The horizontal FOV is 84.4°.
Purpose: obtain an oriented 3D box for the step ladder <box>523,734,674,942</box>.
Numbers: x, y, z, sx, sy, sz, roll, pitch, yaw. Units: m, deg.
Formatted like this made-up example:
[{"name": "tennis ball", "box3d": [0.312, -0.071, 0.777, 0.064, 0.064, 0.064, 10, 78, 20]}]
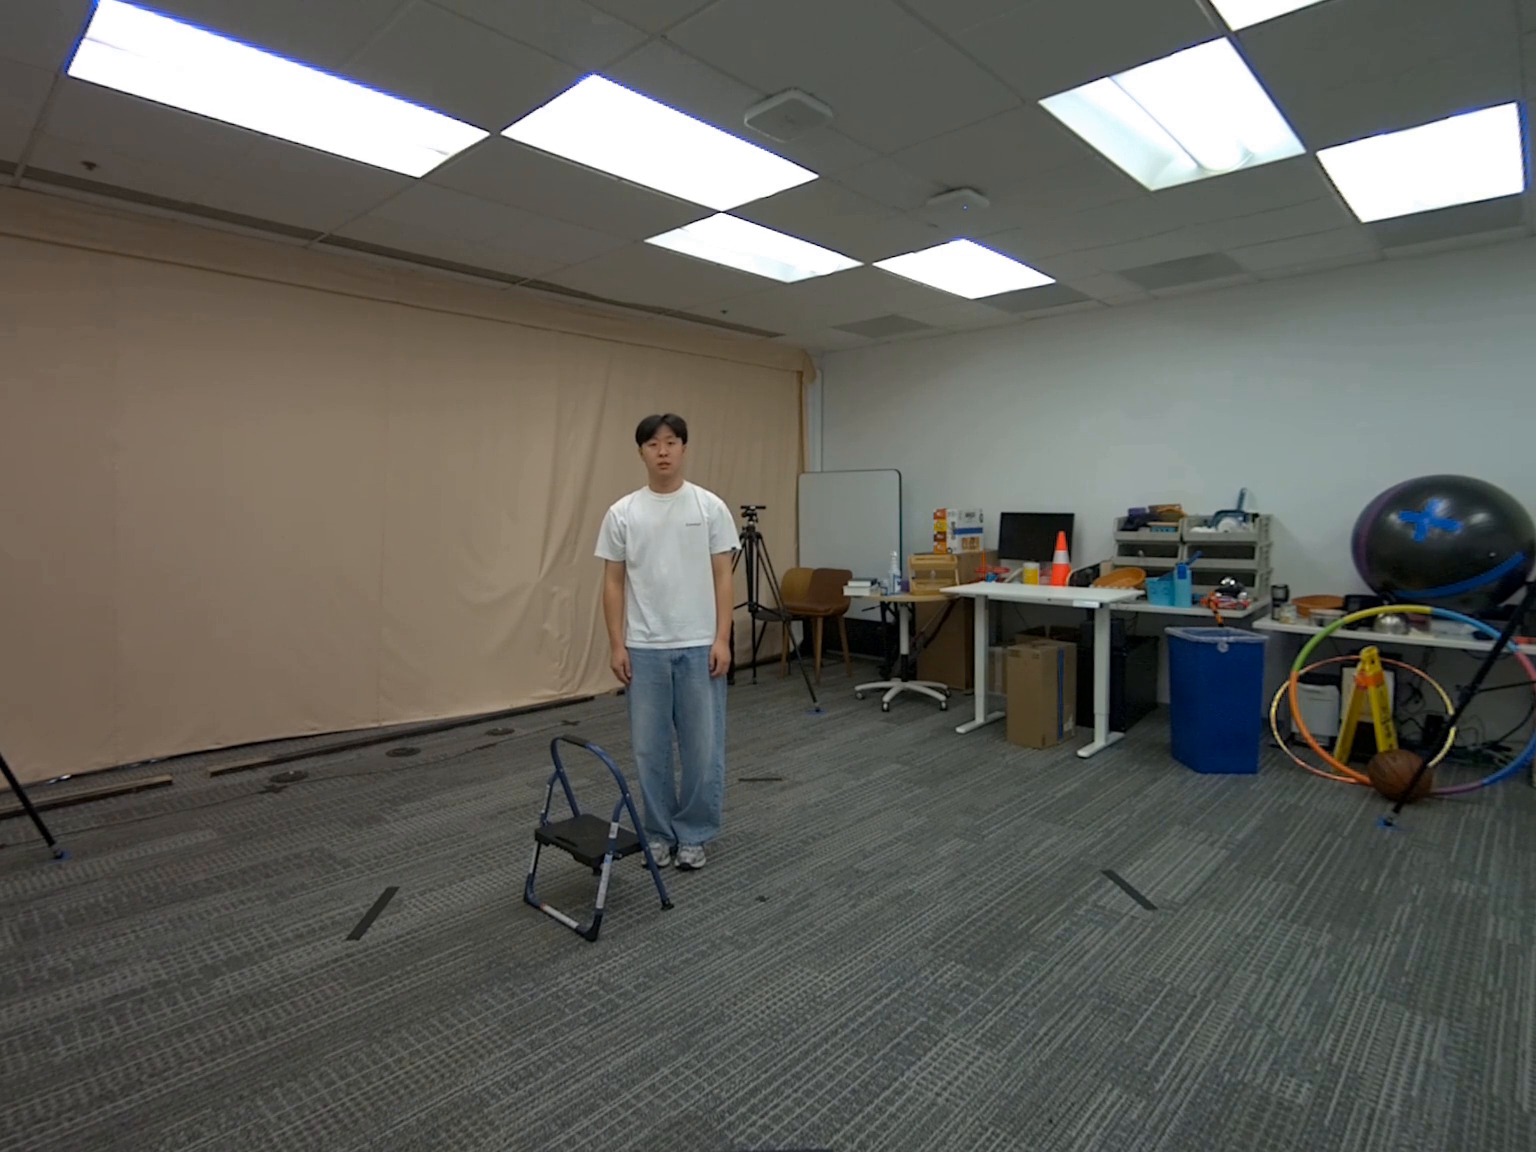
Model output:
[{"name": "step ladder", "box3d": [-0.604, 0.847, 2.934, 0.445, 0.605, 0.338, 3, 4, 43]}]
